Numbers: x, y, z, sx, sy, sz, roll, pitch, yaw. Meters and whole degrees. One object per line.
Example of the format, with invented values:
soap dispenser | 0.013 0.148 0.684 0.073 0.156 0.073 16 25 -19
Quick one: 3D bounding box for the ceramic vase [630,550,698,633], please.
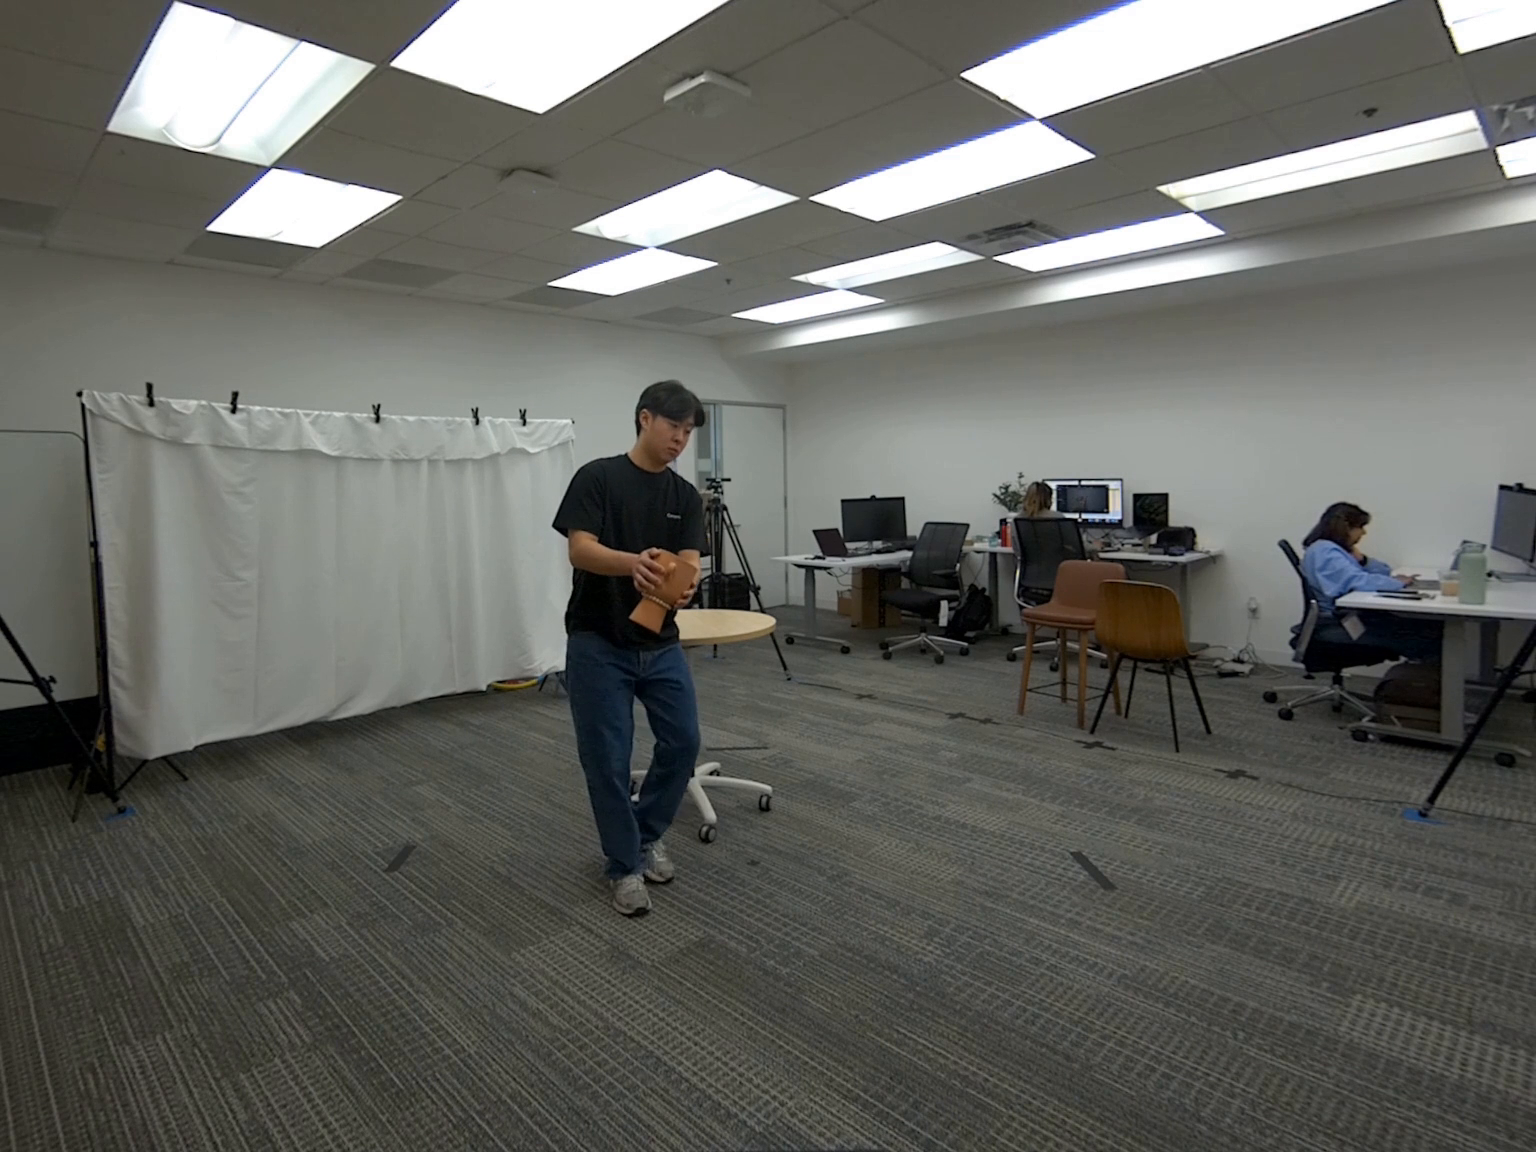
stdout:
ceramic vase | -0.322 0.050 2.502 0.153 0.220 0.139 33 -9 -39
